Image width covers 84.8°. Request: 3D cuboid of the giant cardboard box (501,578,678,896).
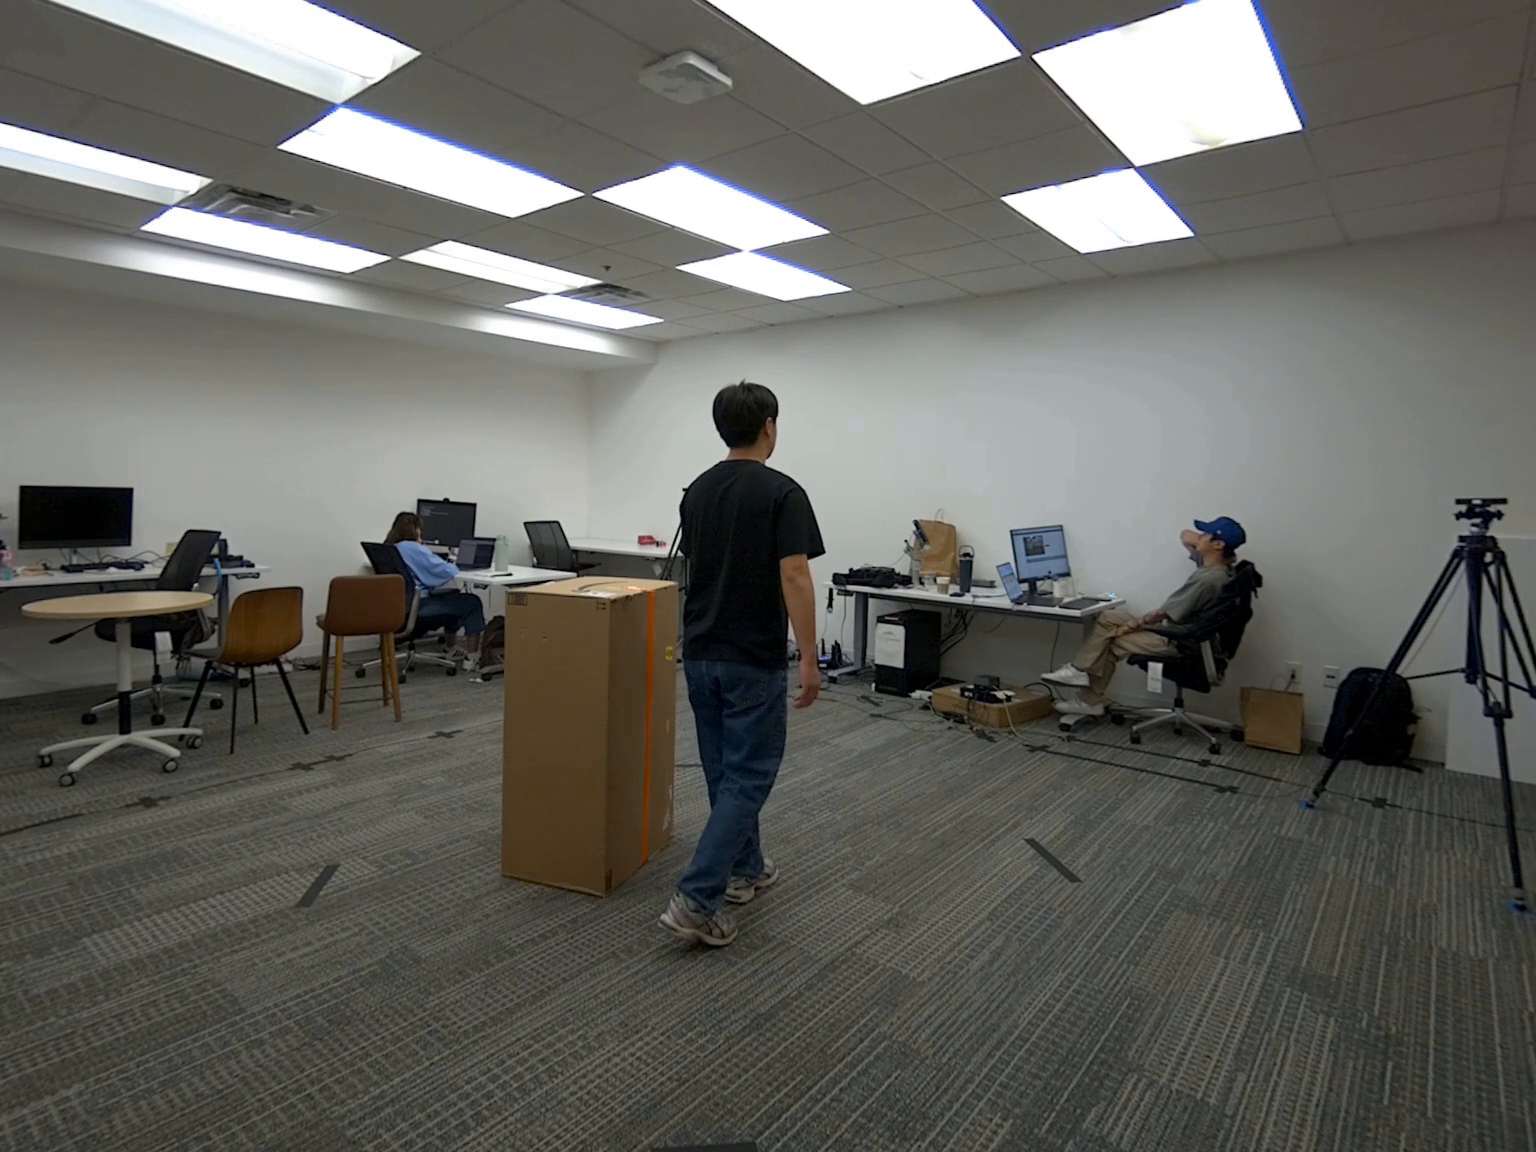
[{"bbox_3d":[-0.663,0.541,3.194,0.457,1.024,0.572,3,4,20],"label":"giant cardboard box"}]
